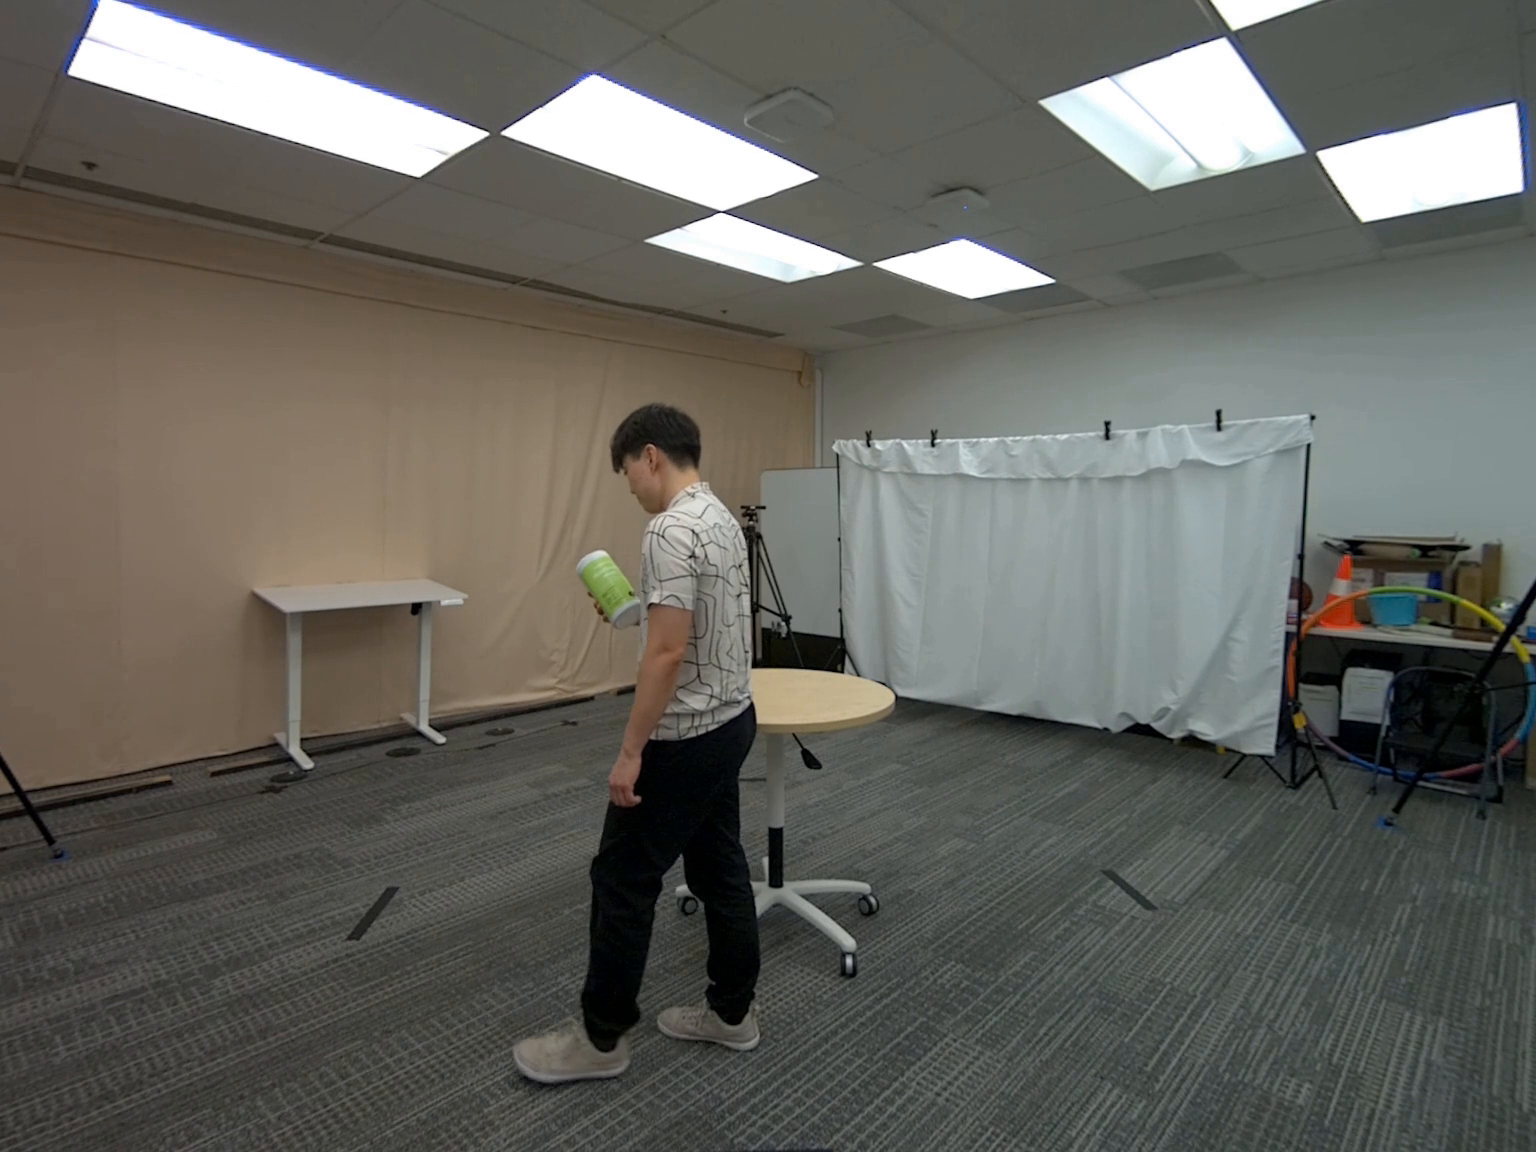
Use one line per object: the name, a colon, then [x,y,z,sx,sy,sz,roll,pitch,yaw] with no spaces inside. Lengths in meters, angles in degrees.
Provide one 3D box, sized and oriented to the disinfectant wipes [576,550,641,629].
disinfectant wipes: [-0.453,0.038,2.373,0.116,0.223,0.116,-28,-25,-16]
